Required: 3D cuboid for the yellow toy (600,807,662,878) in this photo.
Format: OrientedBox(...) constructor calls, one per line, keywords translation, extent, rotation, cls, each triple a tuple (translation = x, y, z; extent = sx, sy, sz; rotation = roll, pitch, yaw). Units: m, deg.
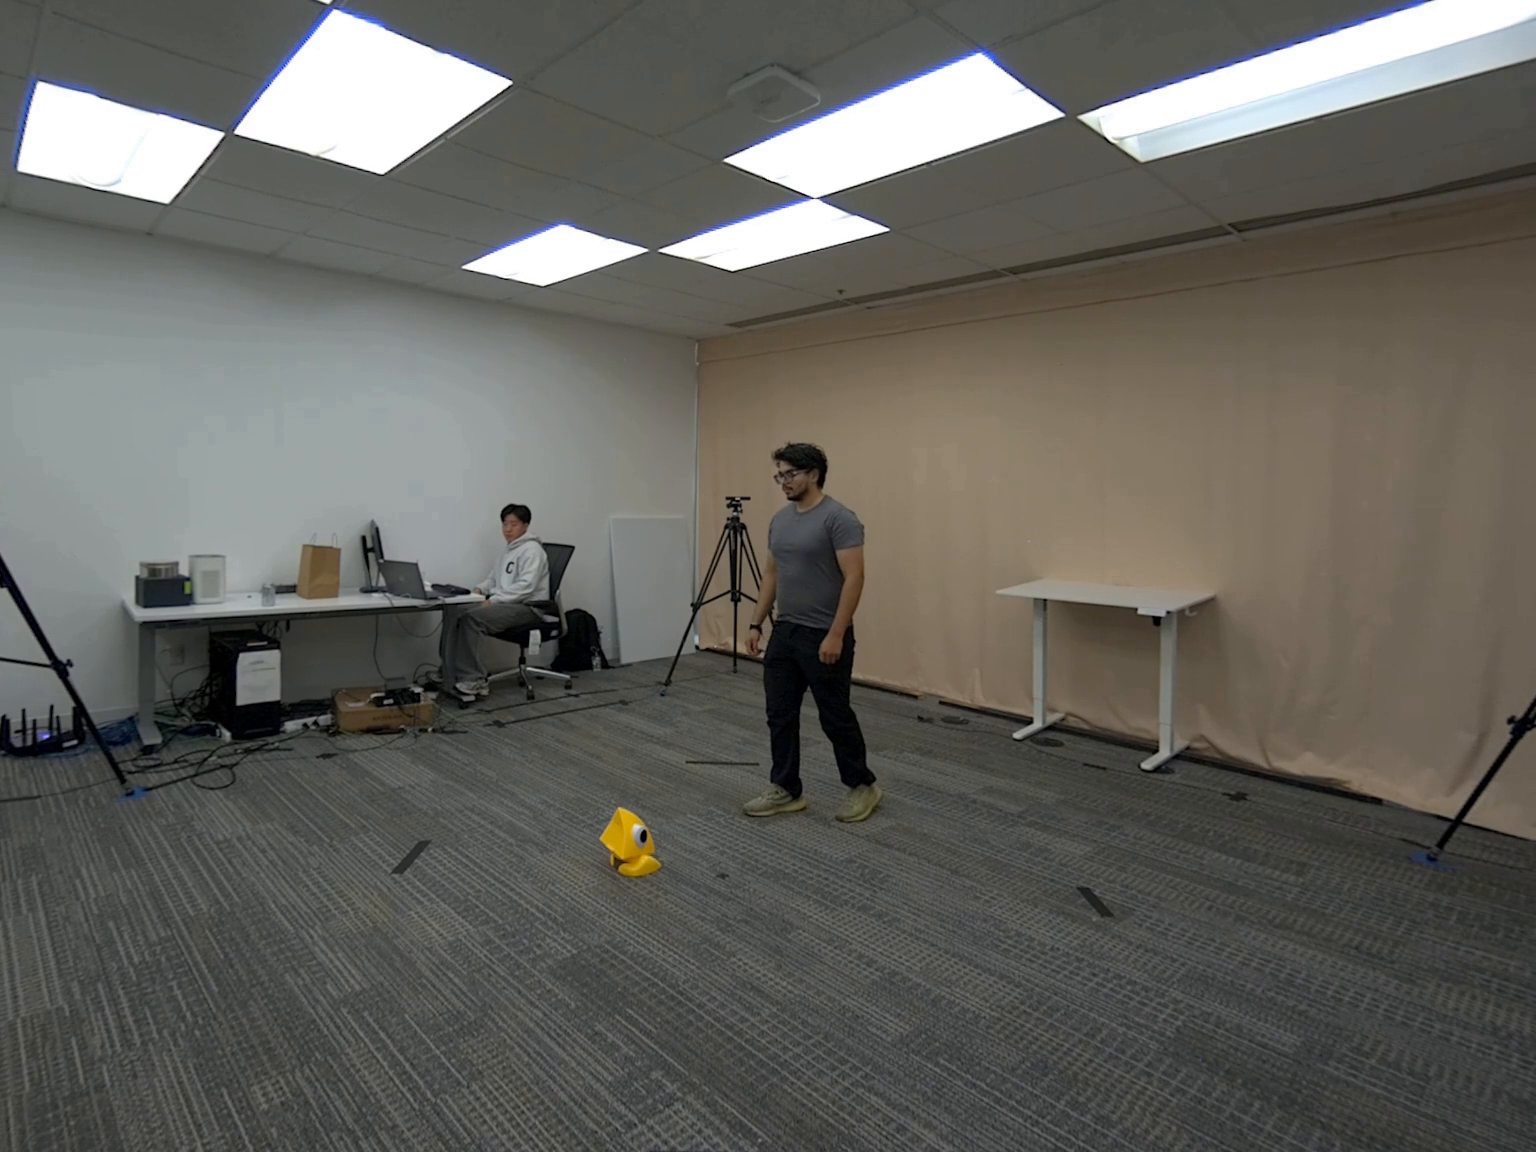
OrientedBox(translation=(-0.519, 0.981, 3.175), extent=(0.189, 0.230, 0.210), rotation=(0, 4, -34), cls="yellow toy")
